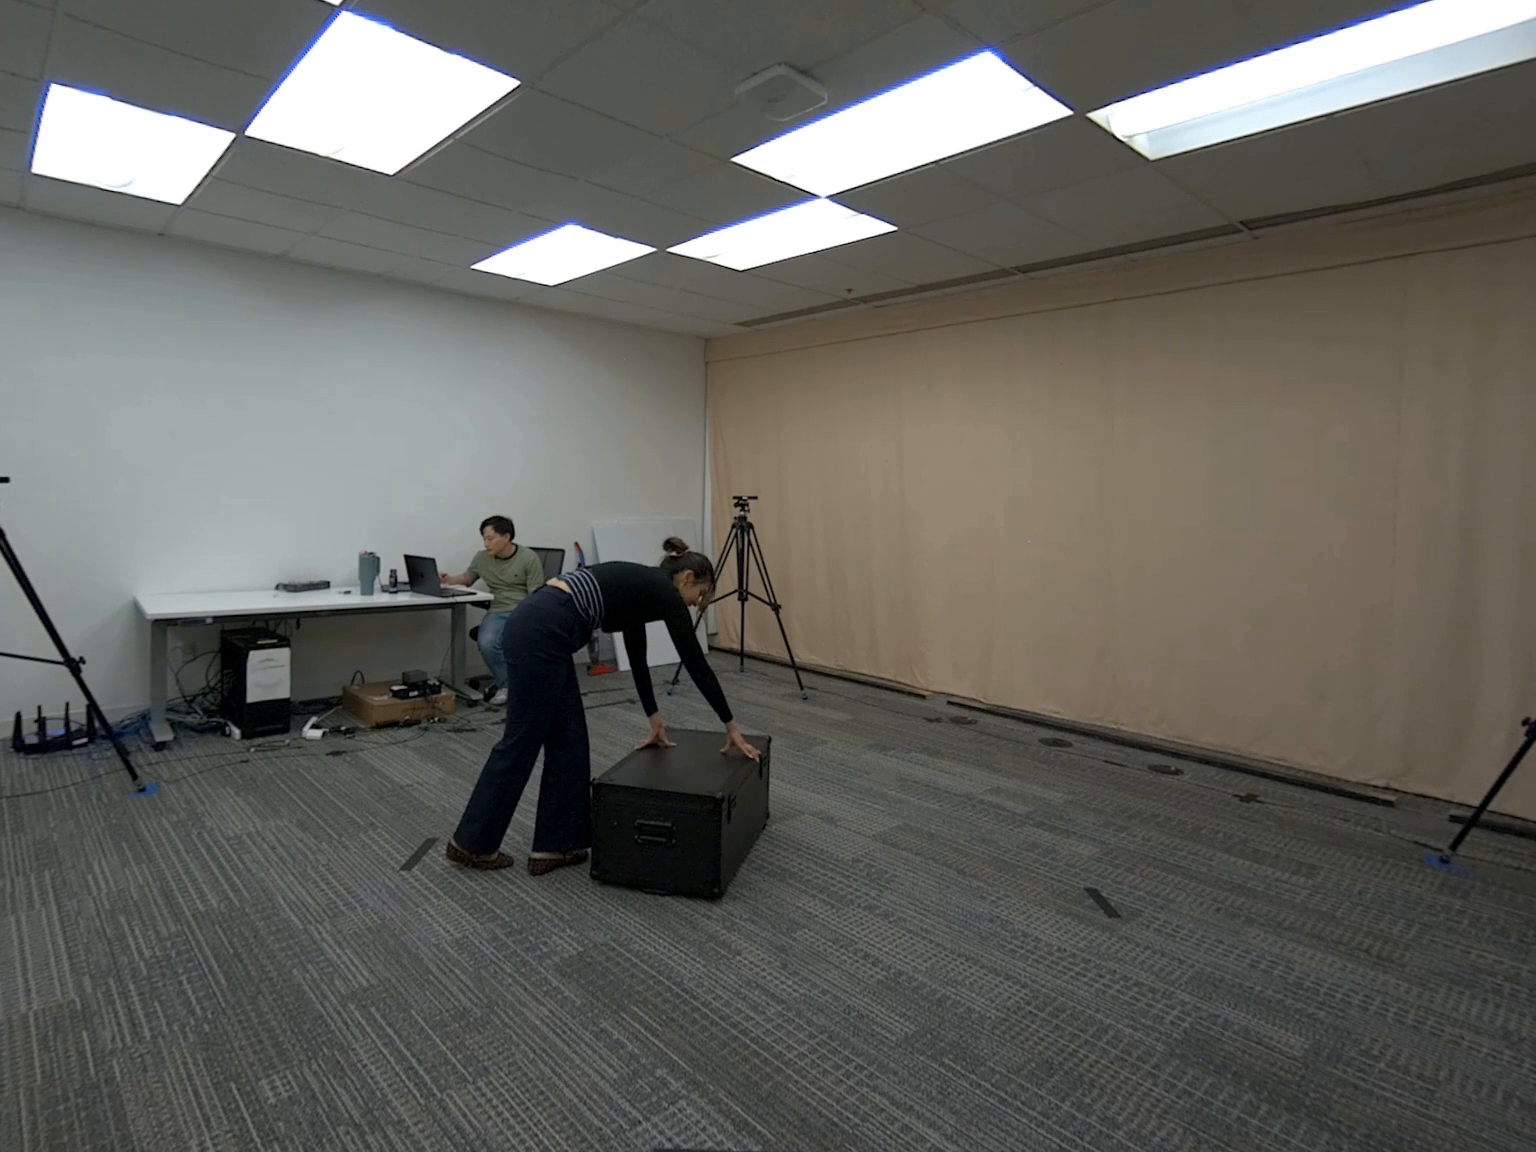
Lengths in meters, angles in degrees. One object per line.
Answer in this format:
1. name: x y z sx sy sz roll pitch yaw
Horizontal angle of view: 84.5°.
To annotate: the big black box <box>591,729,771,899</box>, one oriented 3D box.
1. big black box: -0.301 0.888 3.323 0.527 0.395 0.854 2 6 13
